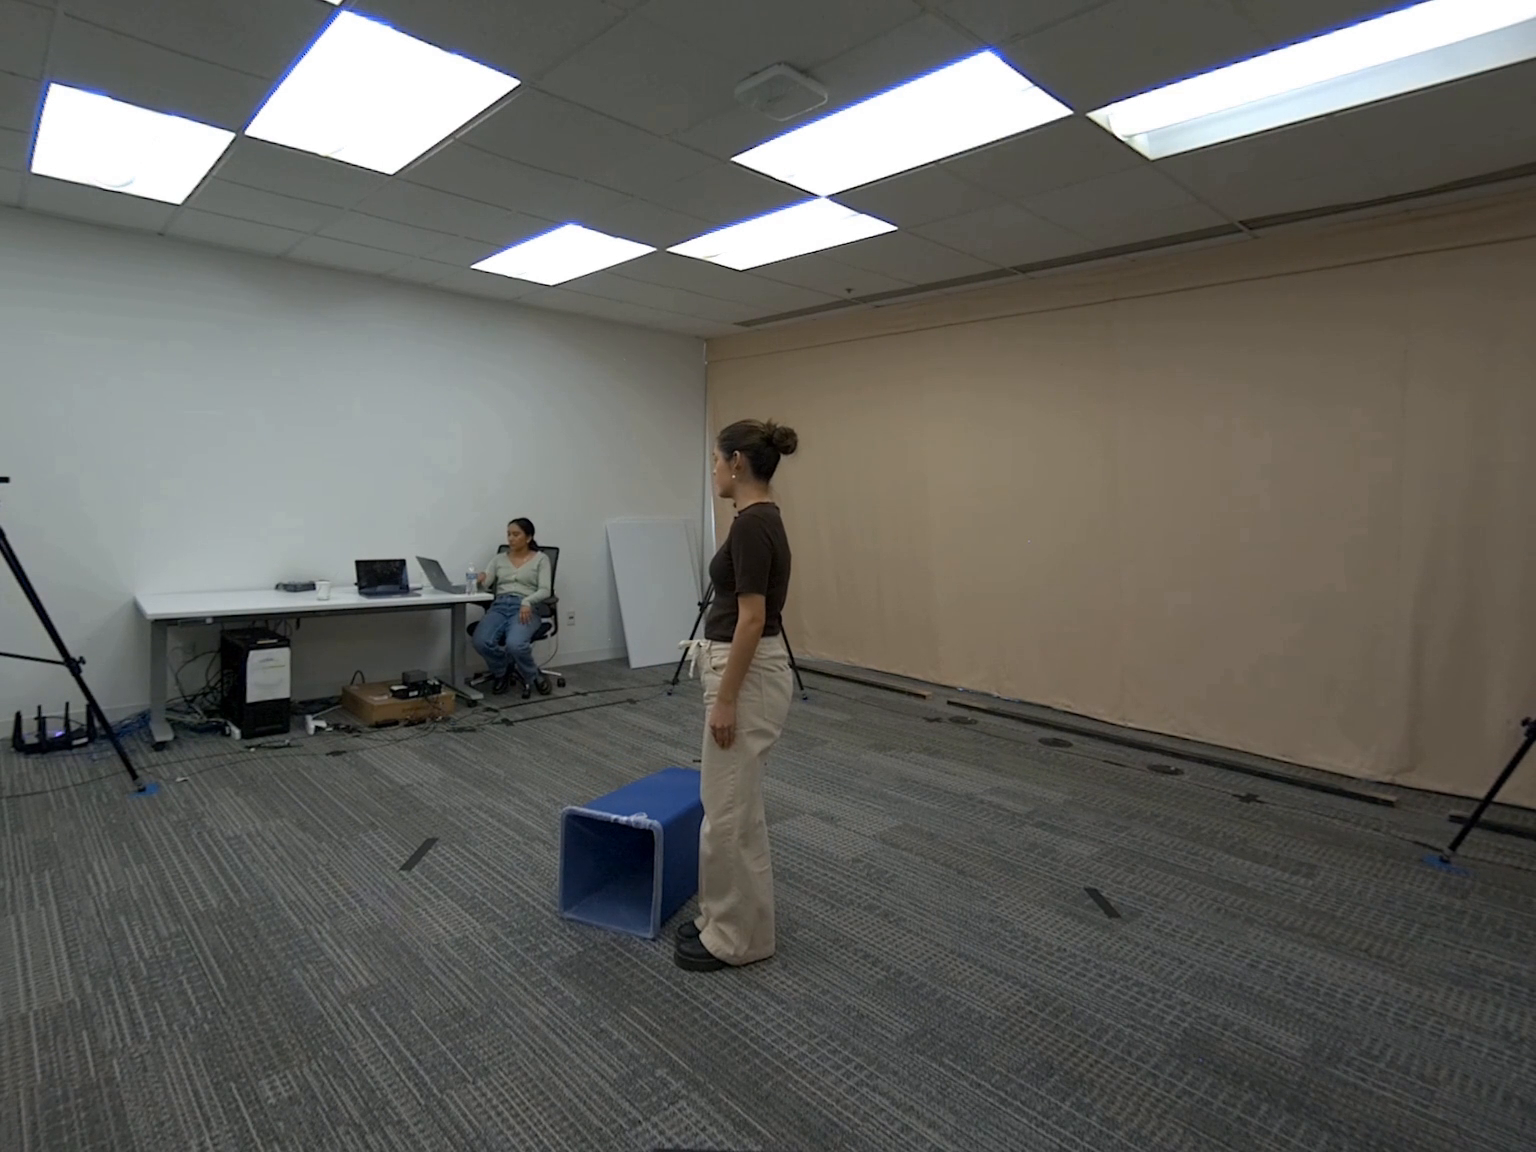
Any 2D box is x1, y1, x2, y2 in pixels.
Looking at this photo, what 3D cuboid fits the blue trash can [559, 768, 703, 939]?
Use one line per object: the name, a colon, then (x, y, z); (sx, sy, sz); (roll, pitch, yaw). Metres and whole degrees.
blue trash can: (-0.391, 0.935, 3.011); (0.385, 0.374, 0.701); (3, 2, 22)
